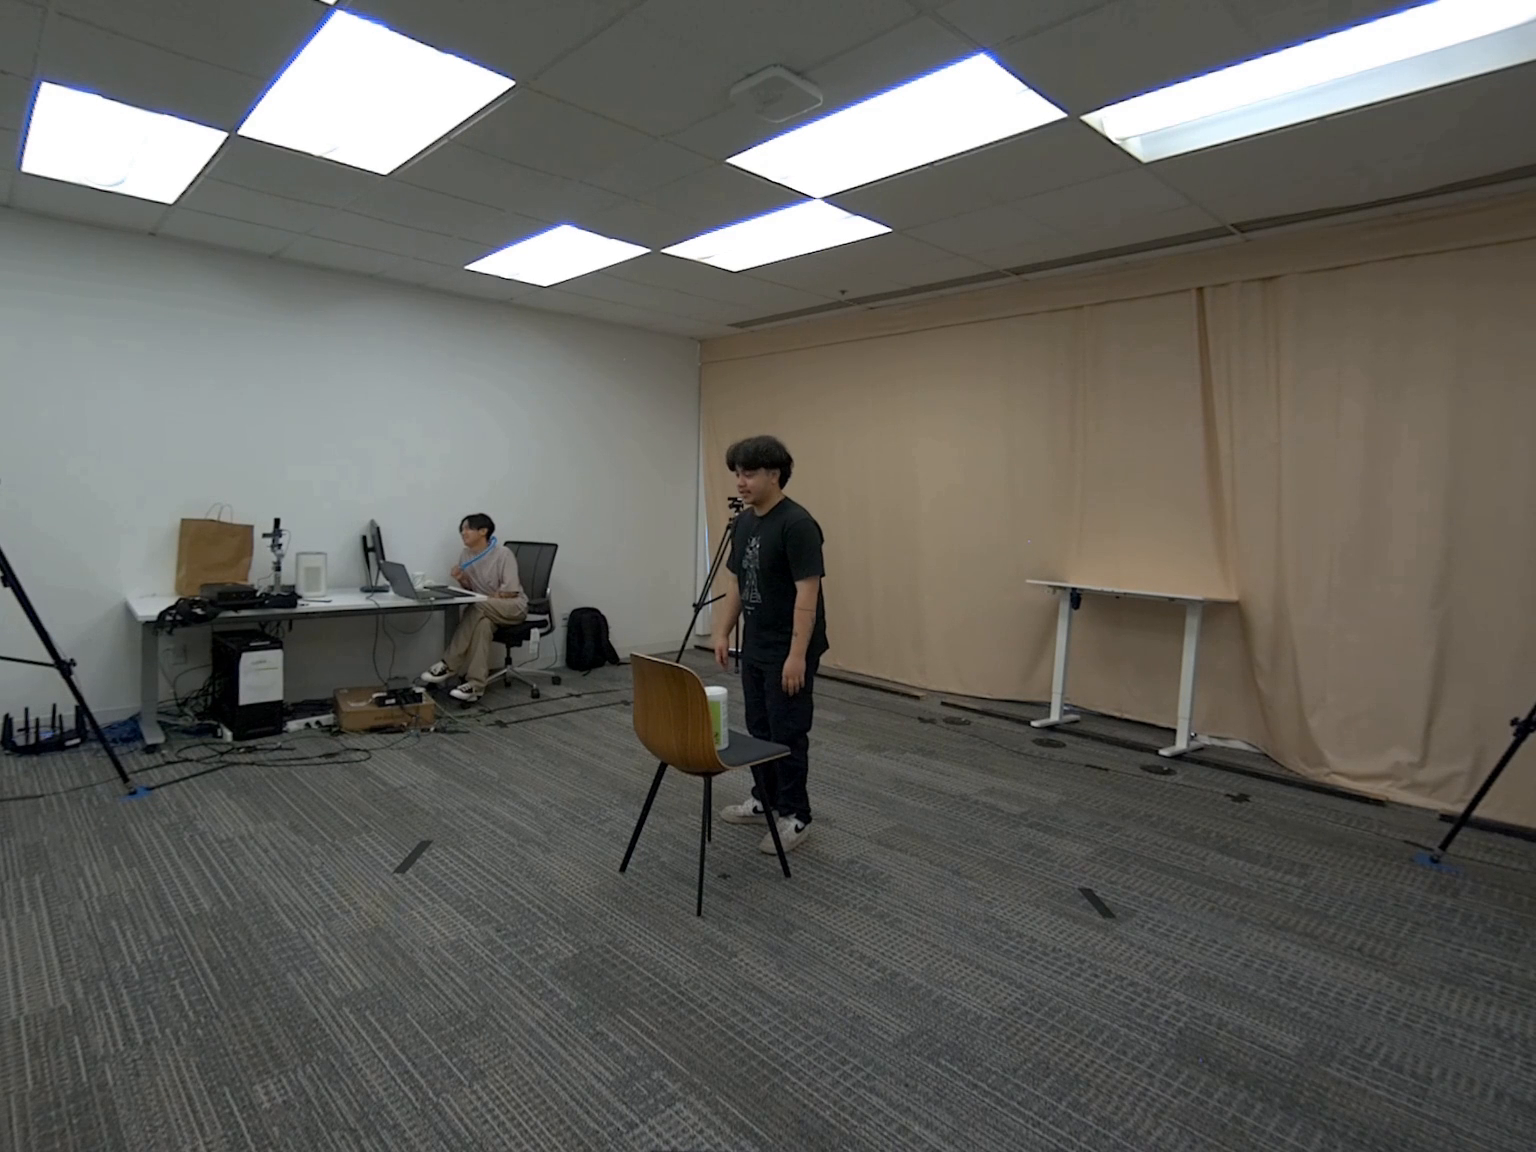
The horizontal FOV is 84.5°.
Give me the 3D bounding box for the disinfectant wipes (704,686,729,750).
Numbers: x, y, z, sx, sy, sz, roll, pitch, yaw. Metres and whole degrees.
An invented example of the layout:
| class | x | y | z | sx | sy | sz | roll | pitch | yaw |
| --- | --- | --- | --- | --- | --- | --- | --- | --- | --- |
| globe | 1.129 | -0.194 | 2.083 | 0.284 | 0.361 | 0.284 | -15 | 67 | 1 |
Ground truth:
| class | x | y | z | sx | sy | sz | roll | pitch | yaw |
| --- | --- | --- | --- | --- | --- | --- | --- | --- | --- |
| disinfectant wipes | -0.209 | 0.530 | 3.099 | 0.118 | 0.216 | 0.118 | -2 | 6 | -1 |
